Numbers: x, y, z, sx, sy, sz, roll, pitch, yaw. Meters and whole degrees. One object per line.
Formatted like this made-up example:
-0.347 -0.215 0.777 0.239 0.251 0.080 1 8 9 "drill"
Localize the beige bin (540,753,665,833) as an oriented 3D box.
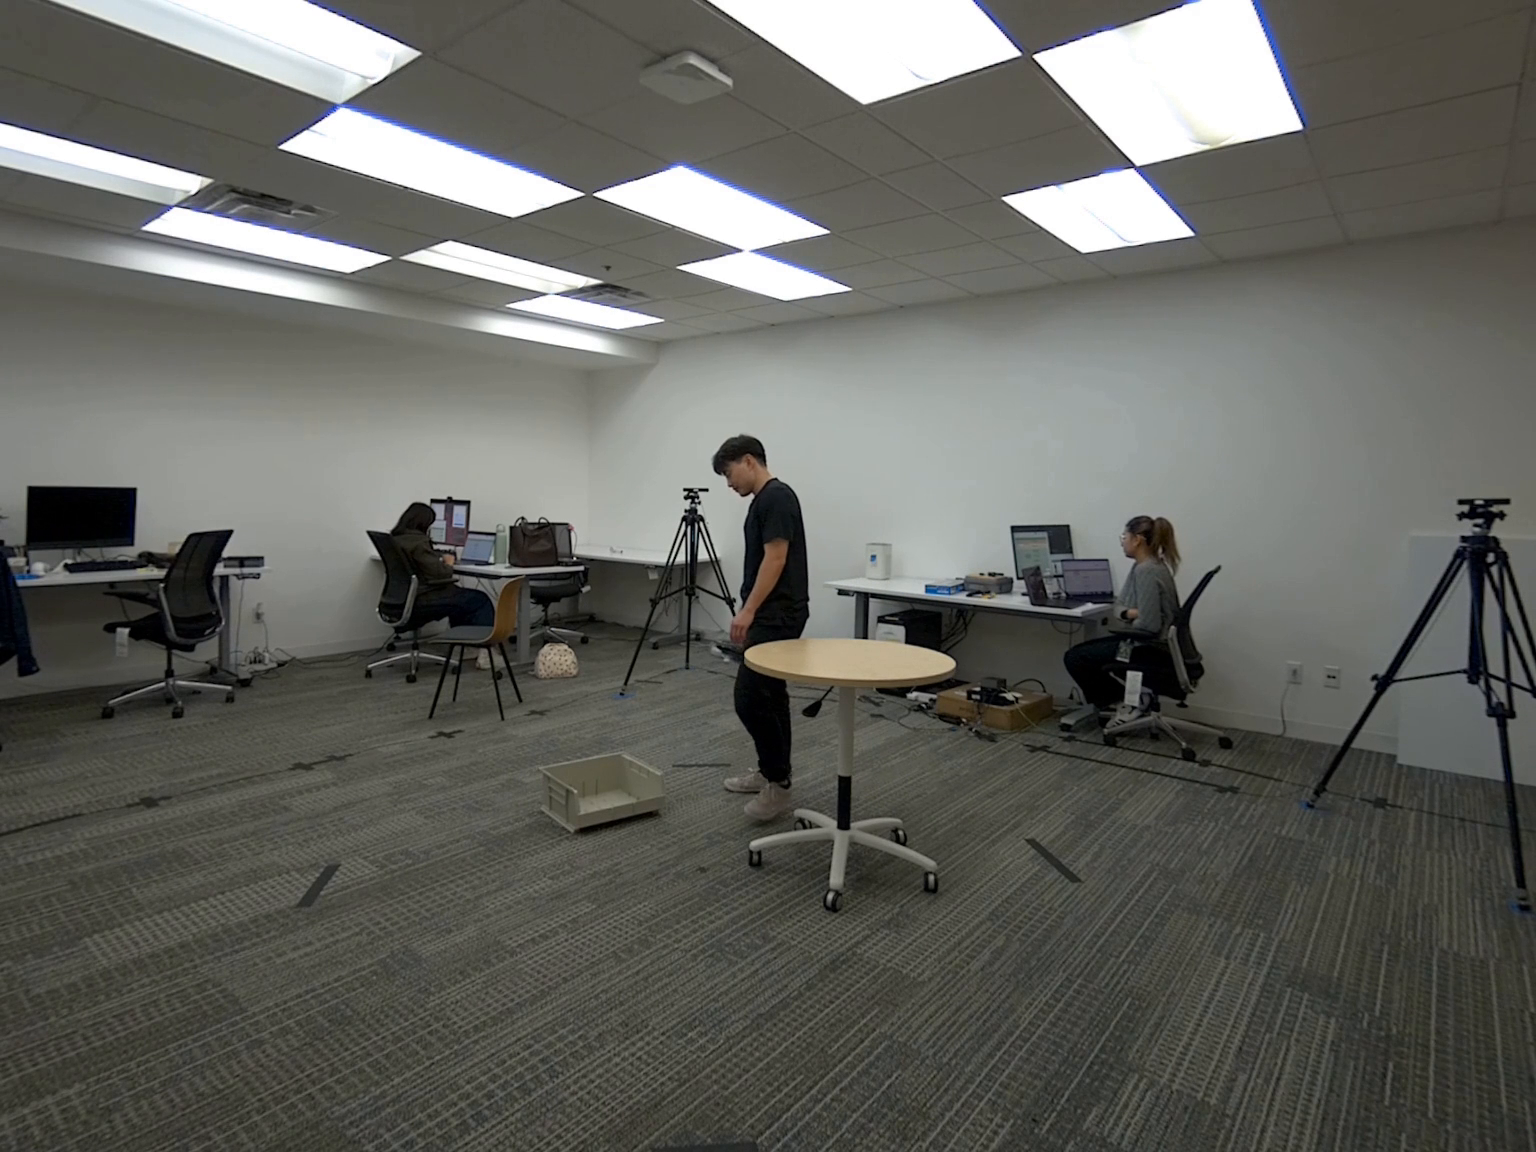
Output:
-0.726 0.922 3.643 0.410 0.188 0.390 -4 6 -38 "beige bin"
